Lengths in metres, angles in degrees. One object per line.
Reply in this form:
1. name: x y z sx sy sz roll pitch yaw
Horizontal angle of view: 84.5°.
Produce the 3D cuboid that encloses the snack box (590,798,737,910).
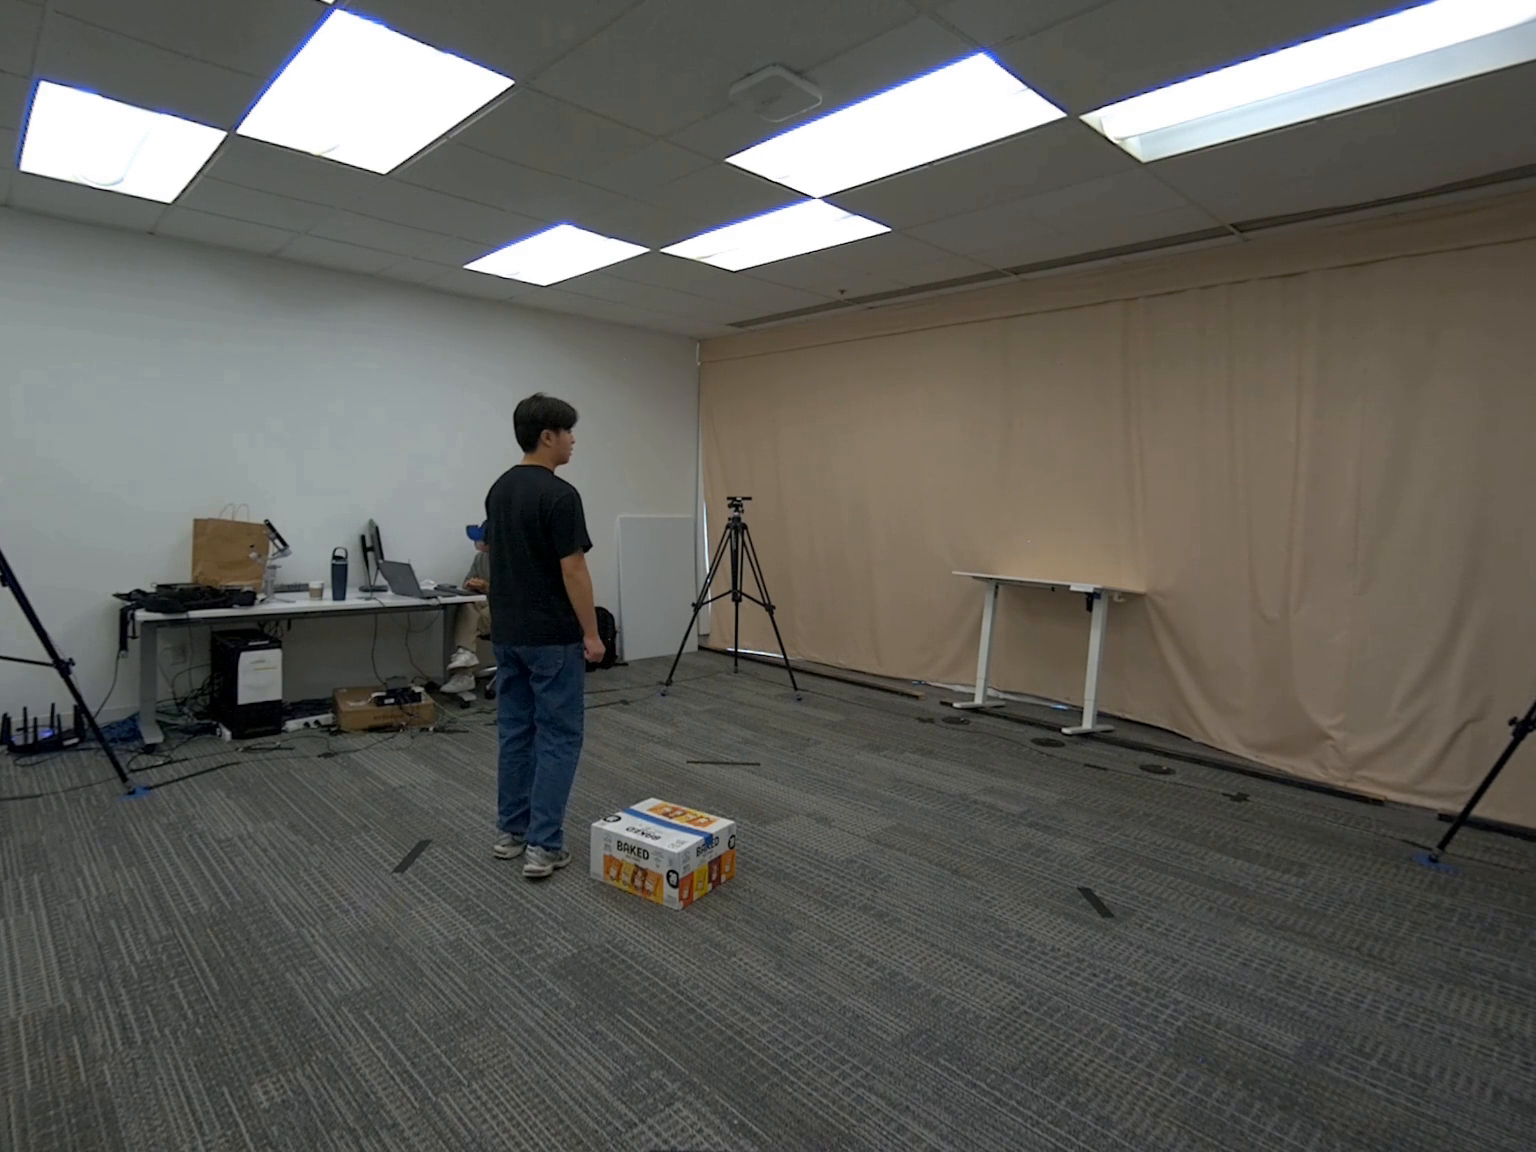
1. snack box: -0.386 1.003 3.070 0.415 0.205 0.333 5 6 33
